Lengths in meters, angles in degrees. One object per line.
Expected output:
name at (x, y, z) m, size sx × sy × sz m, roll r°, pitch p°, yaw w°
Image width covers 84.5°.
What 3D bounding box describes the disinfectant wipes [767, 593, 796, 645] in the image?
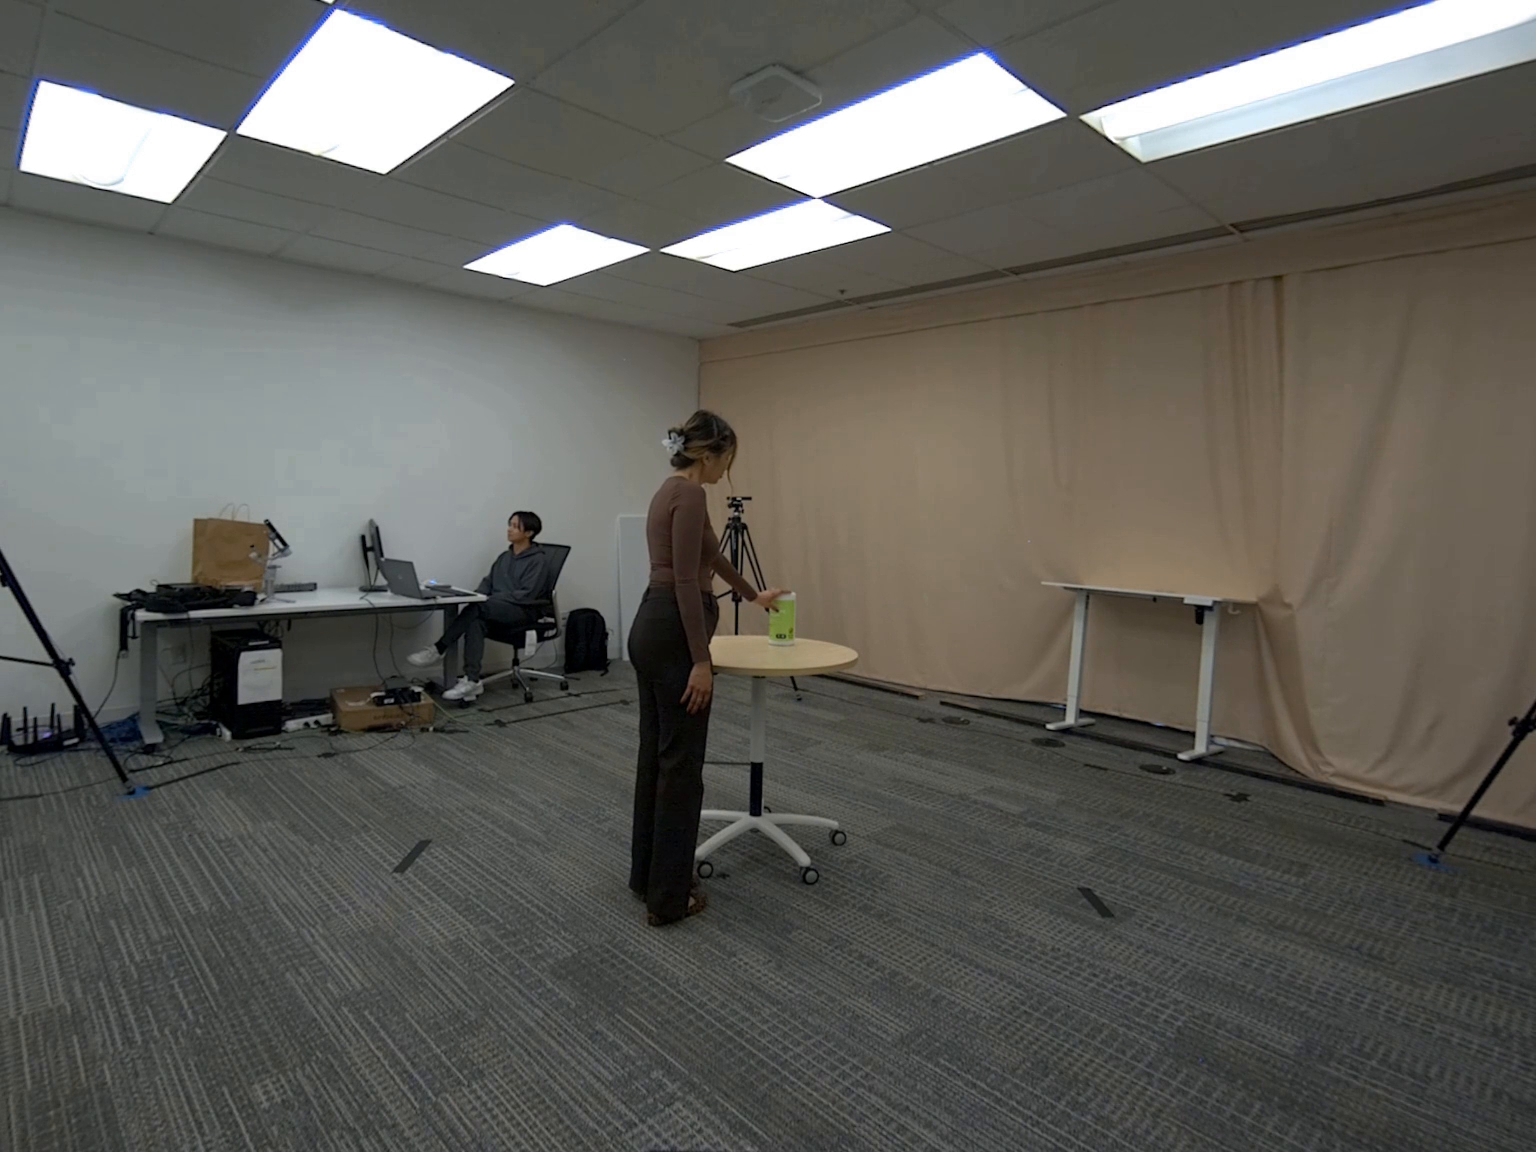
disinfectant wipes at (0.051, 0.176, 3.485) m, size 0.118 × 0.217 × 0.118 m, roll 1°, pitch 5°, yaw -1°
